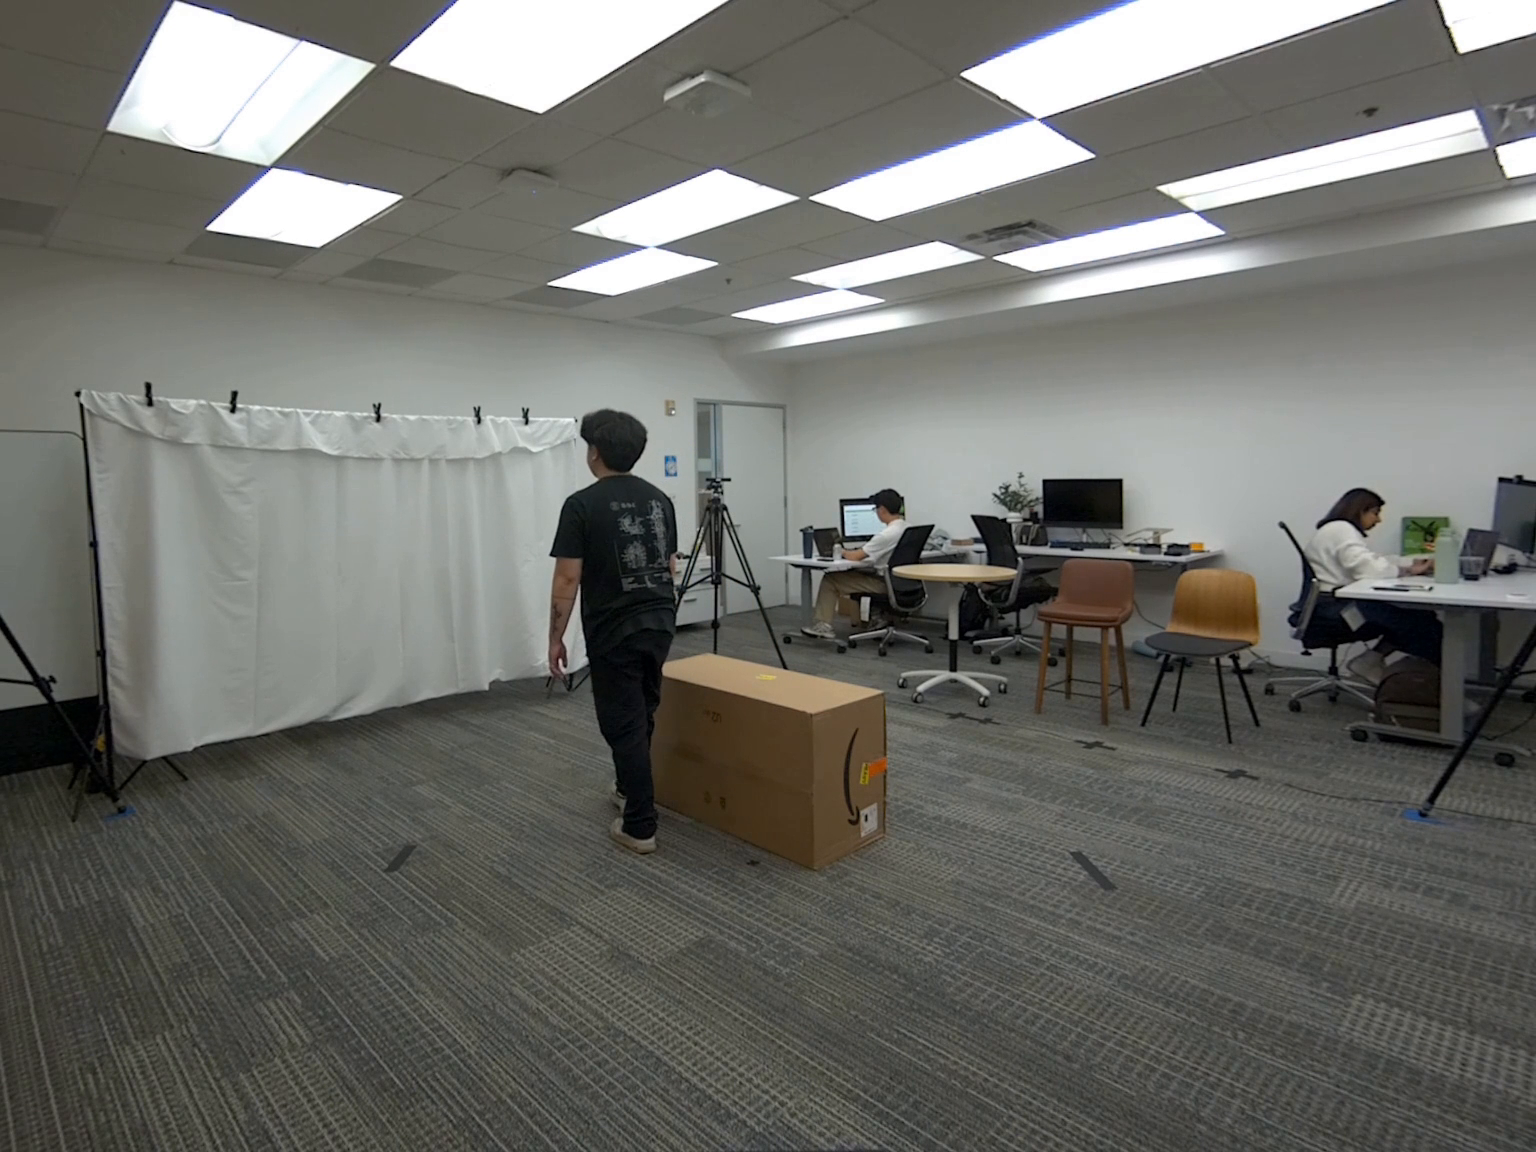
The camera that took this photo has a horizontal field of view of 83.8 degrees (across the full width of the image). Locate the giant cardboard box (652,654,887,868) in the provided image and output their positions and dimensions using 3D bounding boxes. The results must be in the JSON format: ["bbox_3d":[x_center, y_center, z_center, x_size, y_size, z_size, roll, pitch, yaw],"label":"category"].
[{"bbox_3d":[-0.052,0.710,3.528,0.435,0.582,1.059,-4,7,-44],"label":"giant cardboard box"}]
